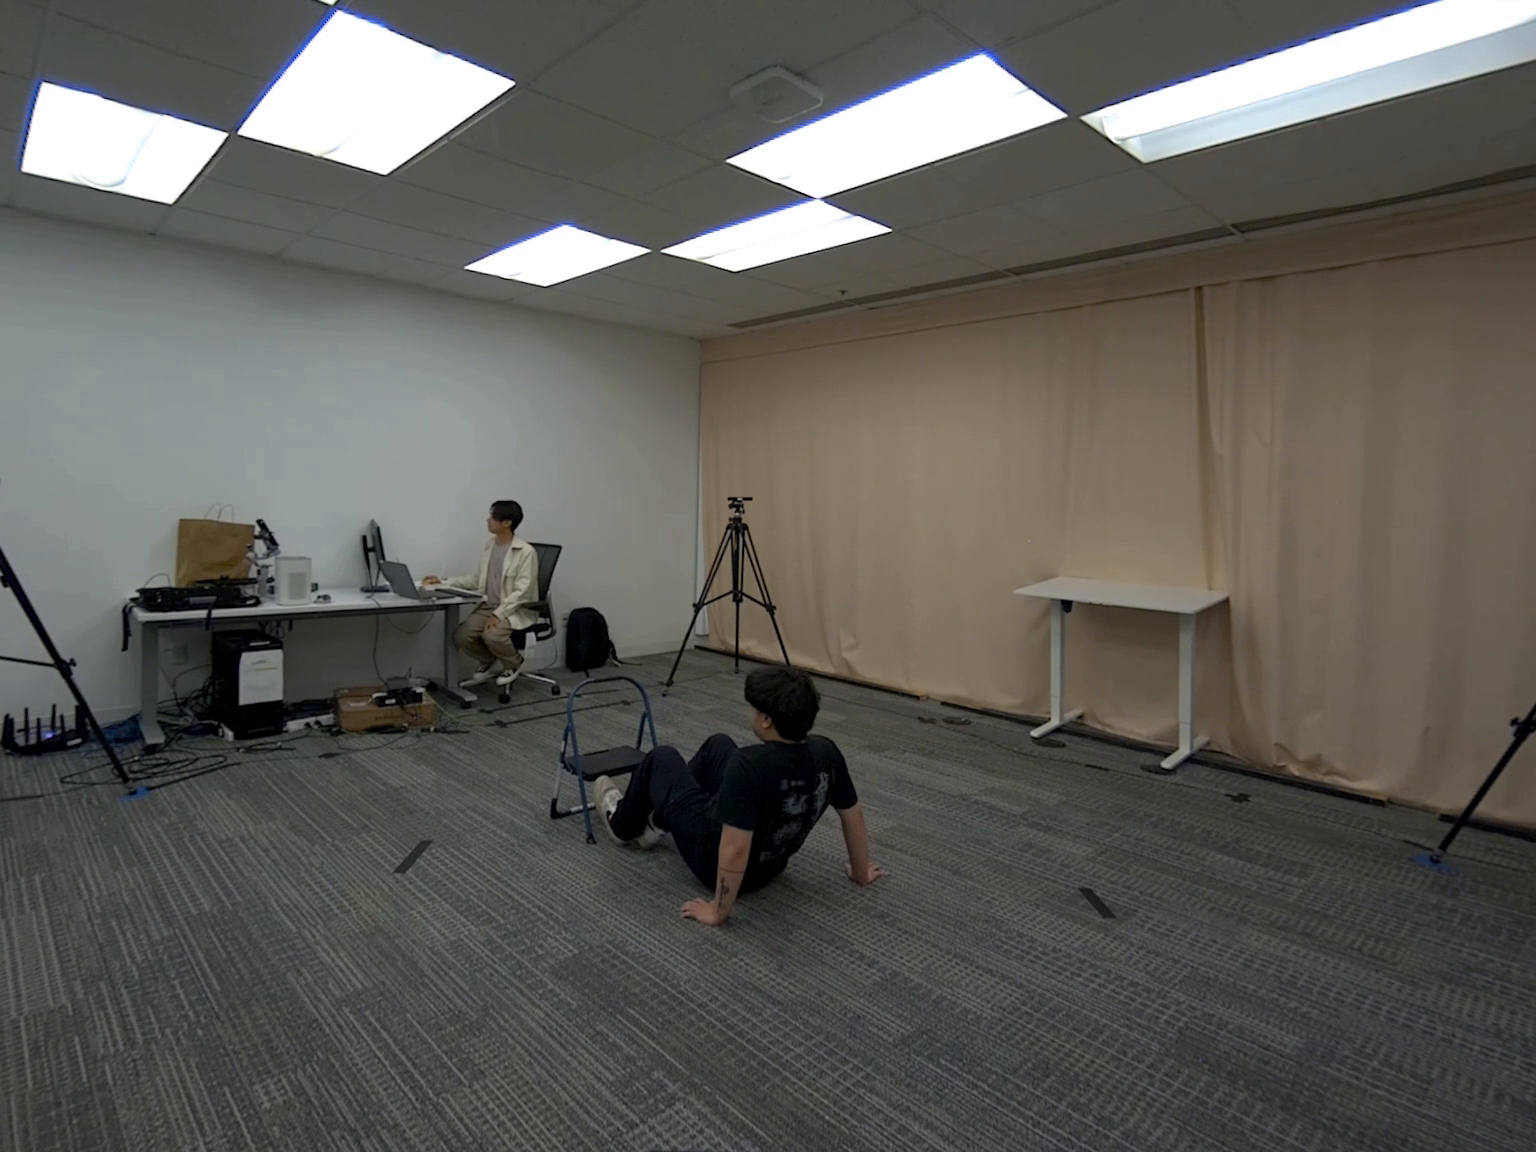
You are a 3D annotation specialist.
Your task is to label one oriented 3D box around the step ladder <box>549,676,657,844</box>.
[{"bbox_3d":[-0.675,0.749,3.616,0.420,0.605,0.358,-1,5,-43],"label":"step ladder"}]
